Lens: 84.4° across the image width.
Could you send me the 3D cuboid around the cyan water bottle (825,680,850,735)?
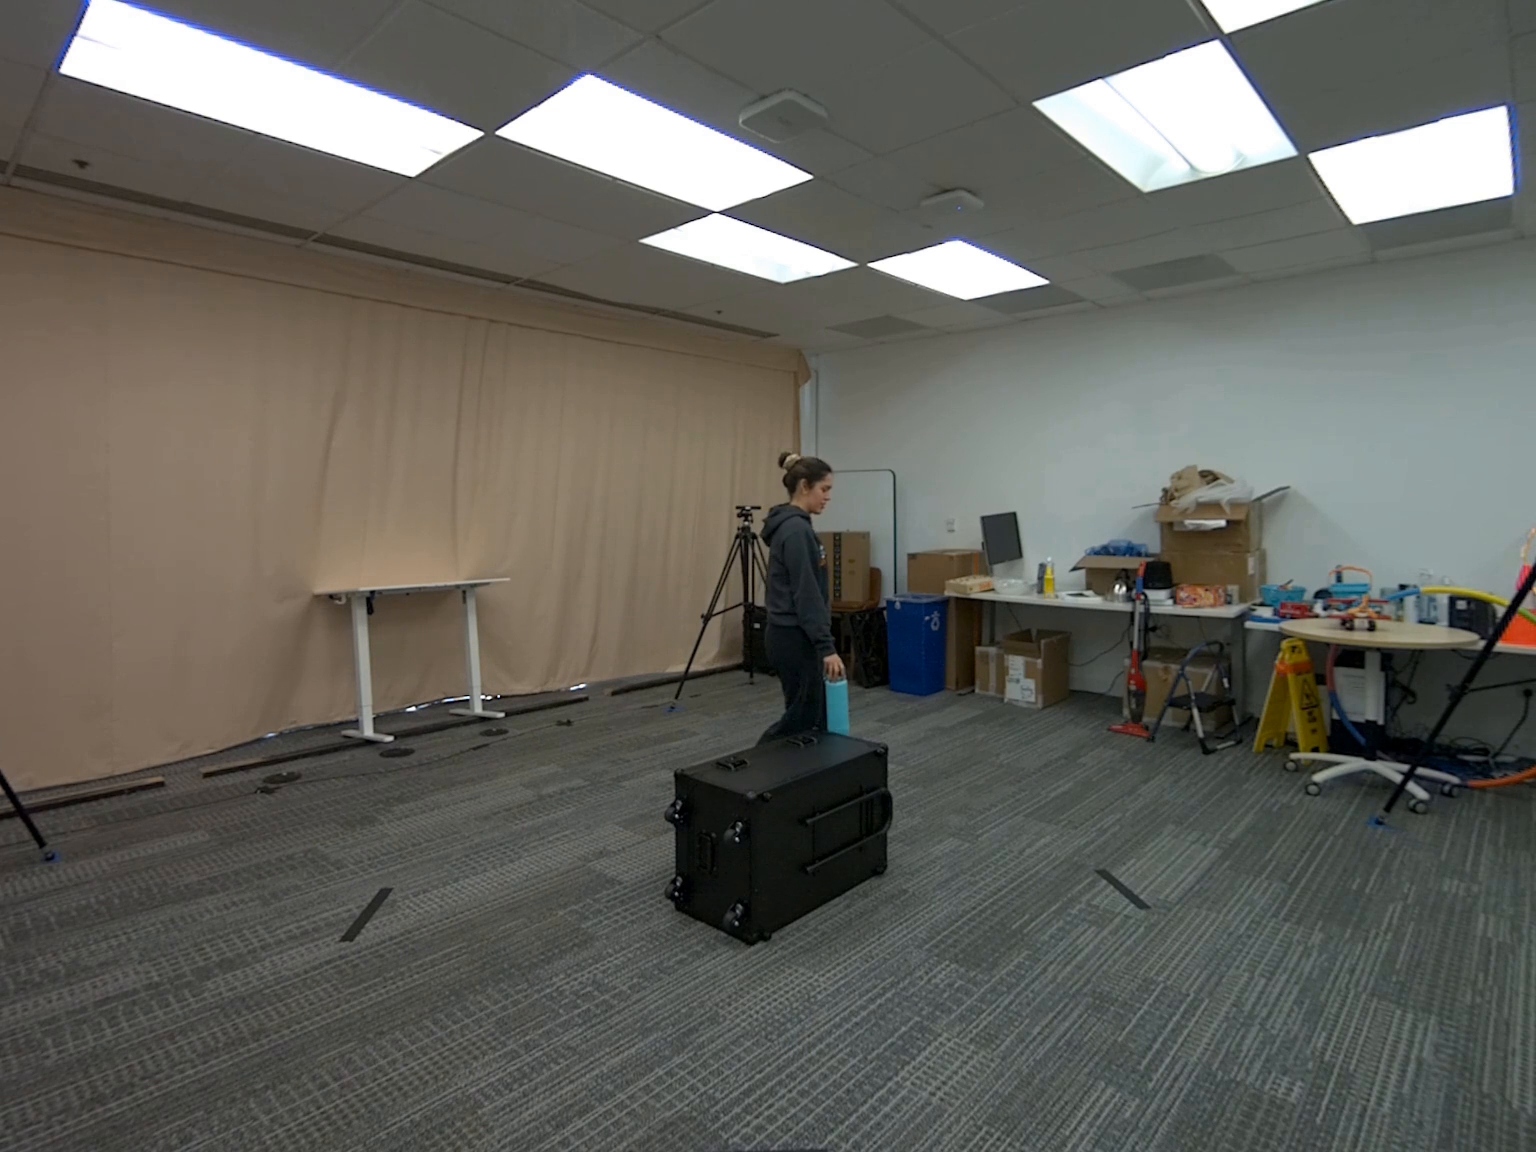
[{"bbox_3d":[0.299,0.503,3.482,0.092,0.281,0.093,-3,10,-1],"label":"cyan water bottle"}]
